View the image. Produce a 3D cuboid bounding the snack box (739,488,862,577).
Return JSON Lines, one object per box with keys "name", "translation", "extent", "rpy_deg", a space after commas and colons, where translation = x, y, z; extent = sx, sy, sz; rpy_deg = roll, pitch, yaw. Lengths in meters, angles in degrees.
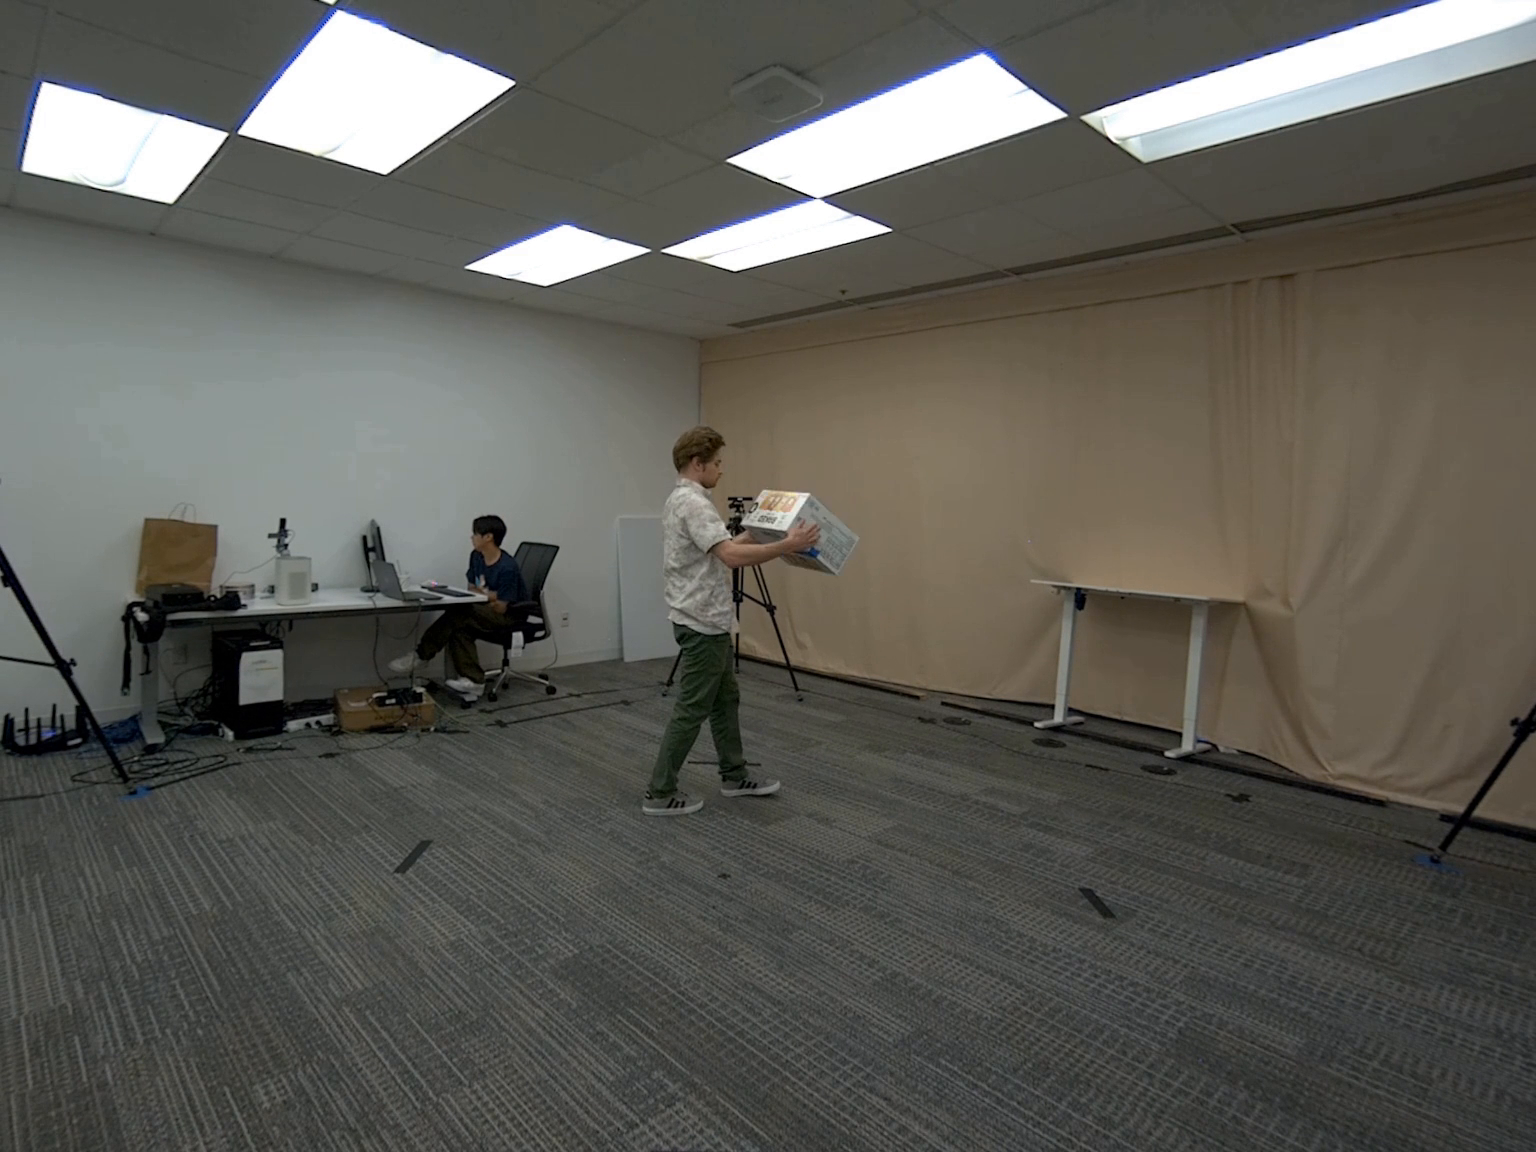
{"name": "snack box", "translation": [0.138, -0.204, 3.815], "extent": [0.331, 0.206, 0.415], "rpy_deg": [38, -12, -28]}
